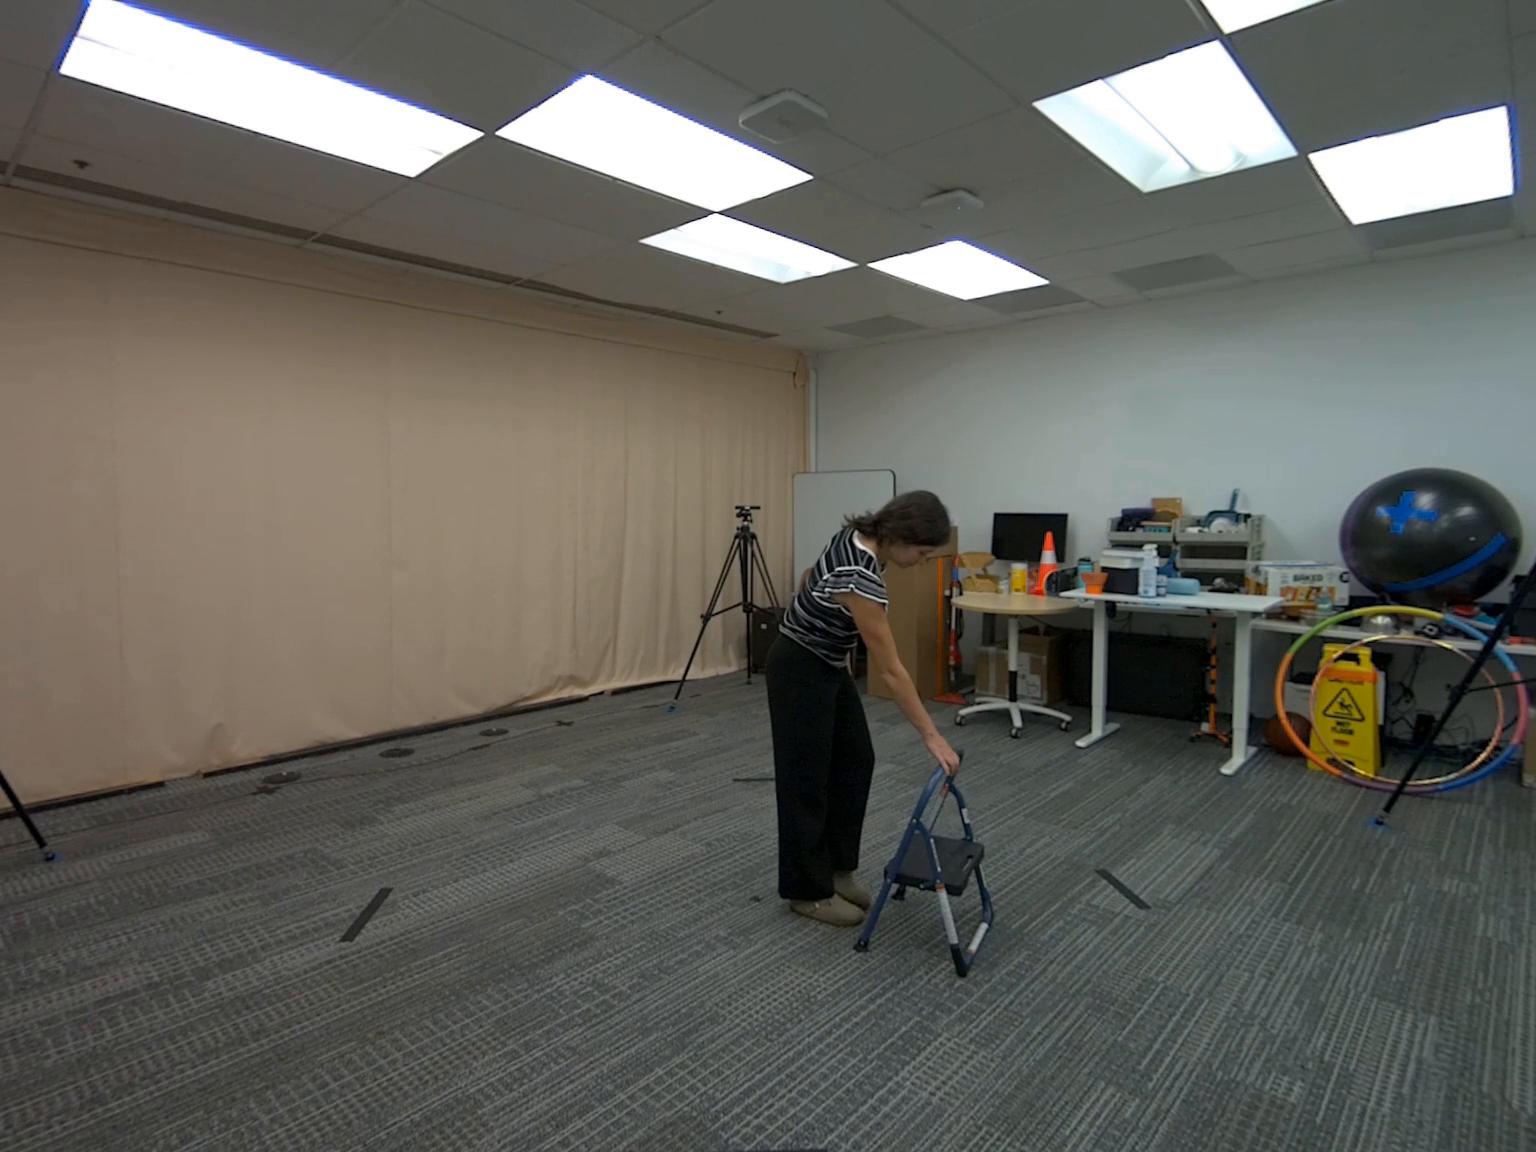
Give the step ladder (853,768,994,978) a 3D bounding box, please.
[{"bbox_3d":[0.521,0.862,2.718,0.359,0.605,0.420,2,4,27],"label":"step ladder"}]
